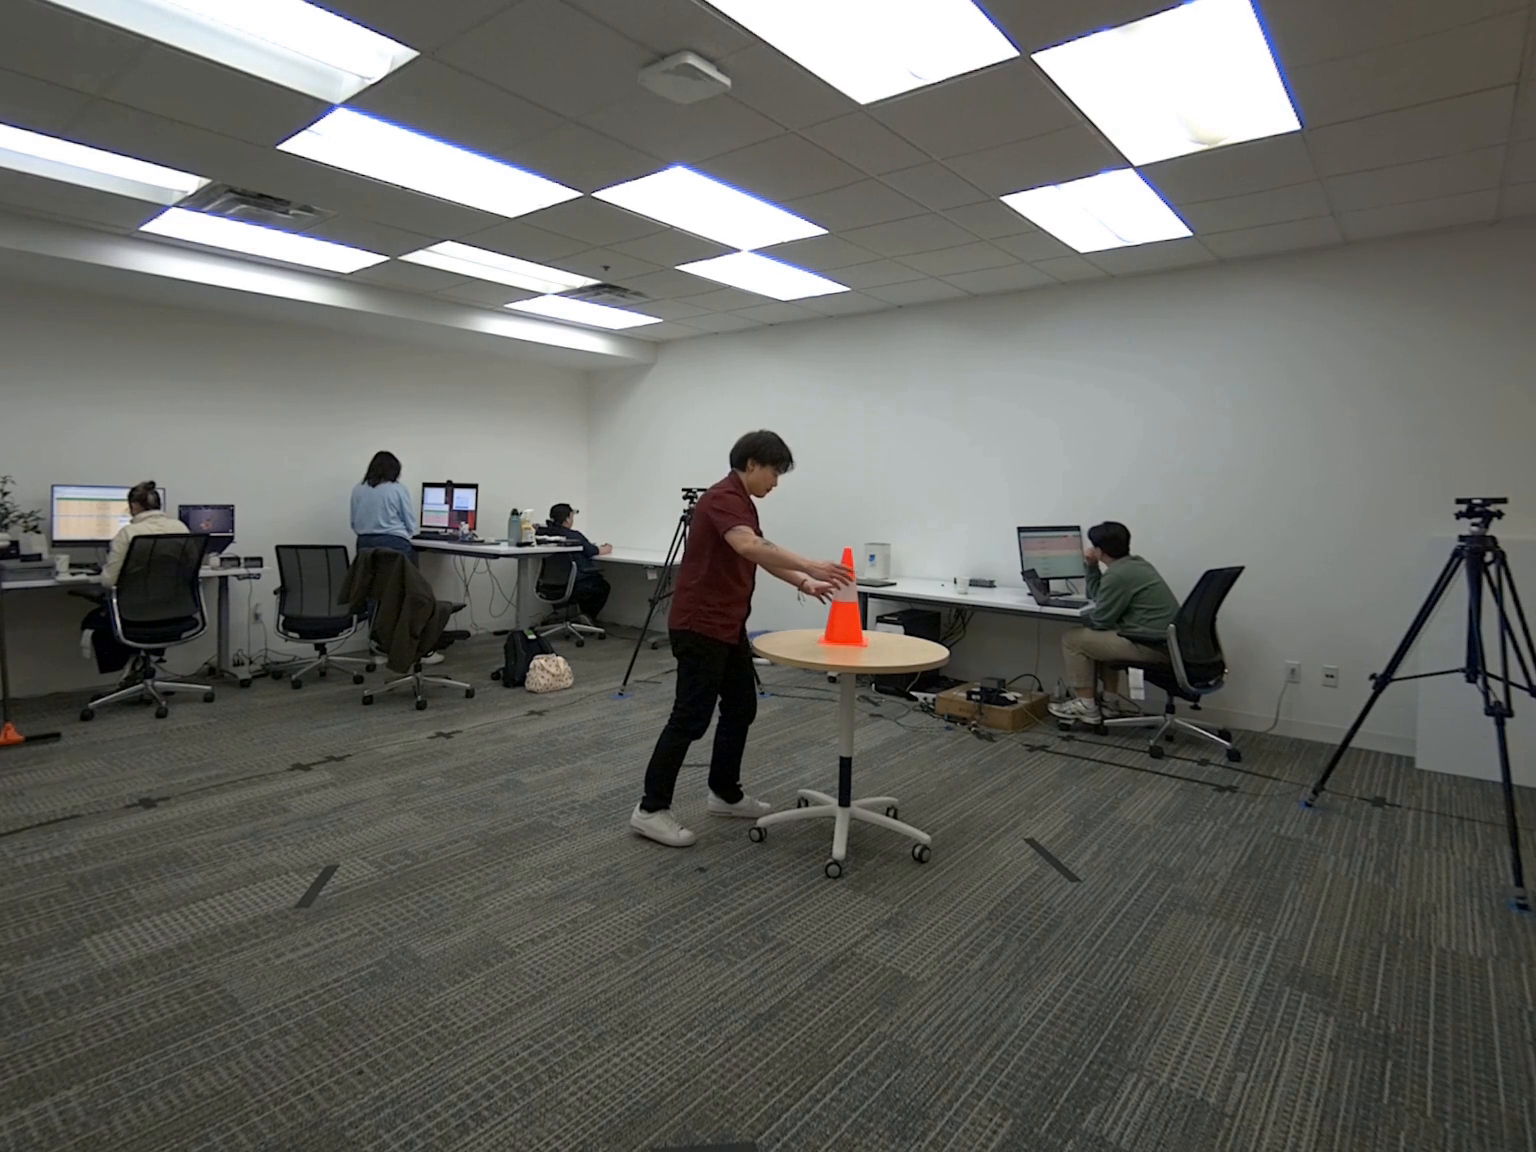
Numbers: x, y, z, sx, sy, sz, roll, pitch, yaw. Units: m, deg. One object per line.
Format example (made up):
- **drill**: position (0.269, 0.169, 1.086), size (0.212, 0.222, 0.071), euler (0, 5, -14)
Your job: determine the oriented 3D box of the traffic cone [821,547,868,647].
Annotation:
- **traffic cone**: position (0.313, 0.074, 3.451), size (0.205, 0.382, 0.204), euler (2, 6, 2)
